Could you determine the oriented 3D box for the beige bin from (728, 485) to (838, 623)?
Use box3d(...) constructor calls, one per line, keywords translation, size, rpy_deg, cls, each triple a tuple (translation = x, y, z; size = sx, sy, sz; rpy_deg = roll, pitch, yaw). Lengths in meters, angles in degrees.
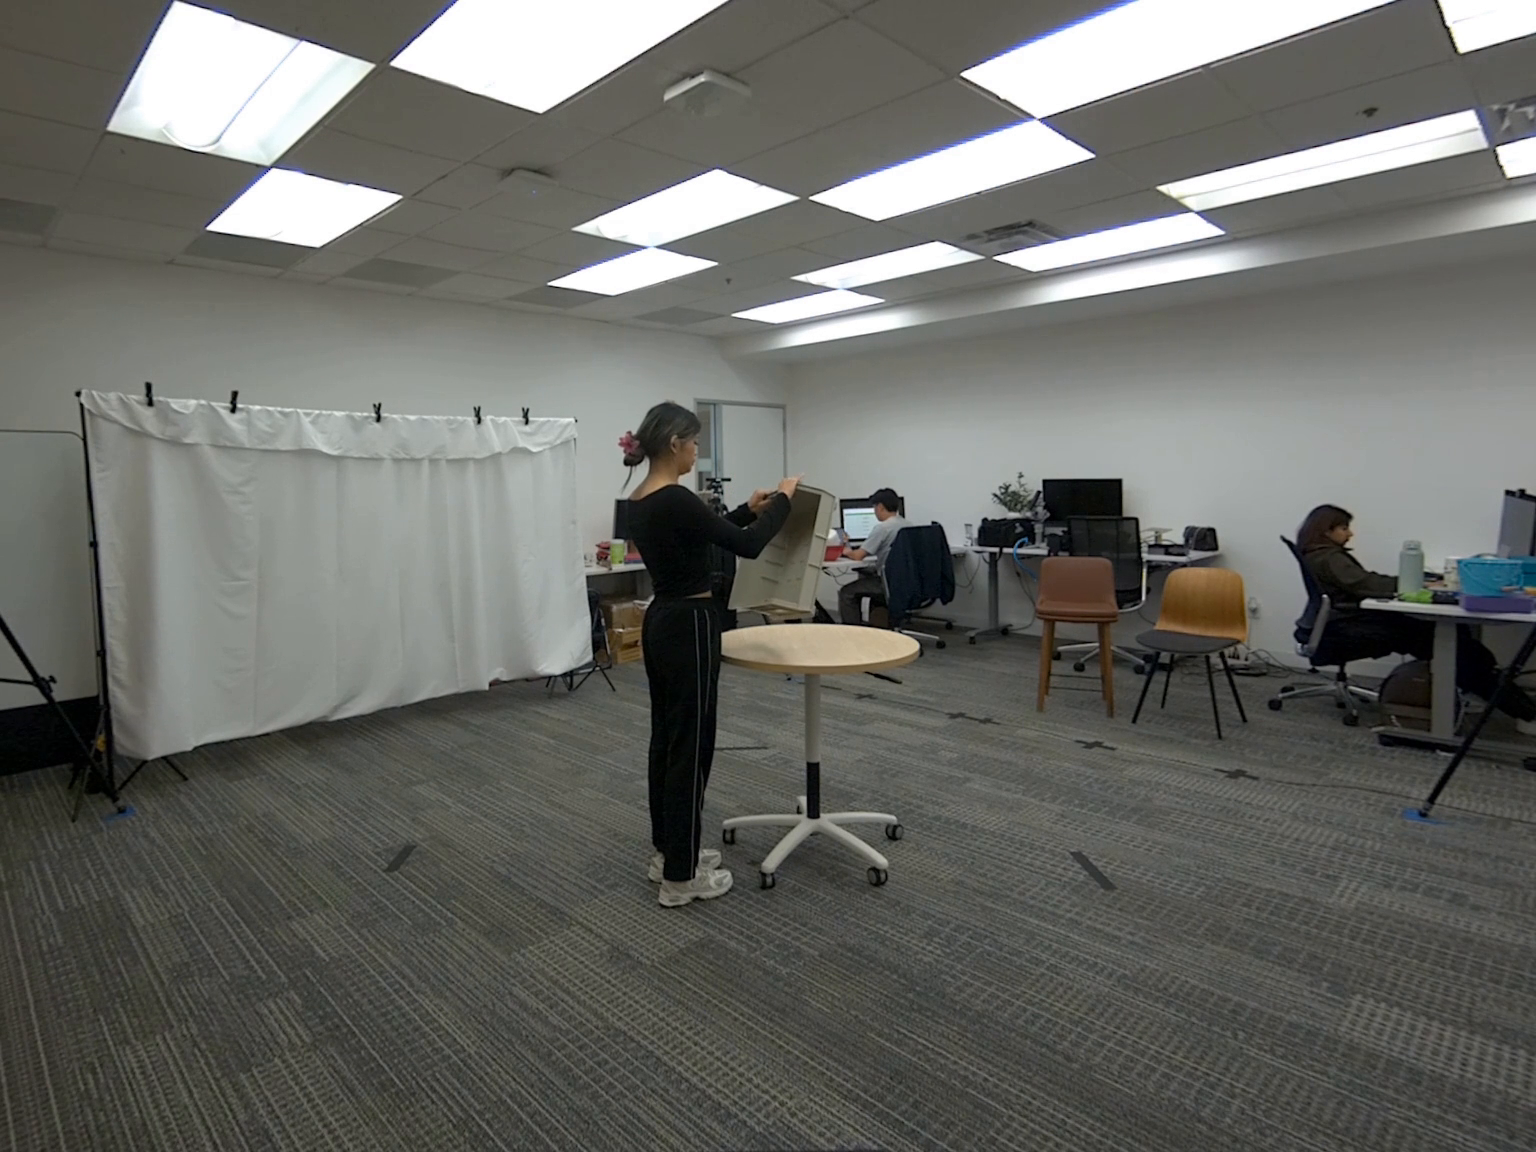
box3d(translation=(0.065, -0.076, 2.993), size=(0.184, 0.426, 0.383), rpy_deg=(18, -15, -23), cls="beige bin")
